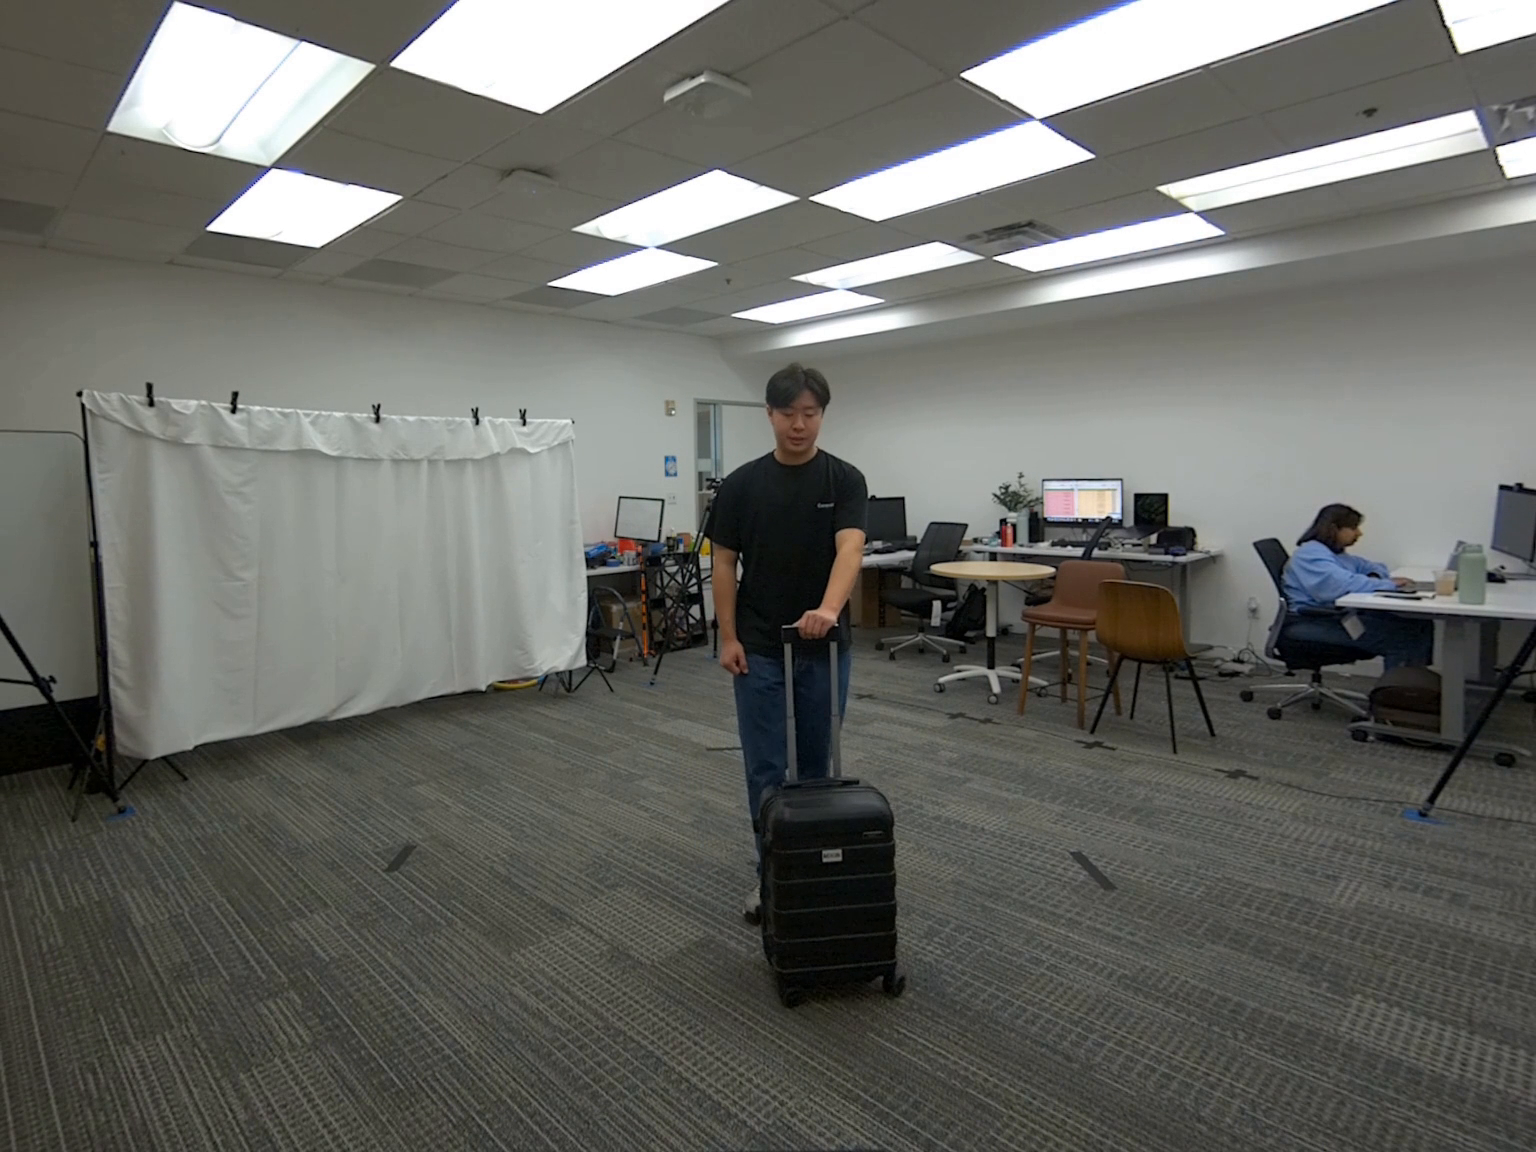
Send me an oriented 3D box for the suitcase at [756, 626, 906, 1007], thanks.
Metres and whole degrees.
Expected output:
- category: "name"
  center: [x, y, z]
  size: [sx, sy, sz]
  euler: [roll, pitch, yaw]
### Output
- category: "suitcase"
  center: [0.159, 0.657, 2.345]
  size: [0.382, 0.972, 0.260]
  euler: [-3, 6, -6]
